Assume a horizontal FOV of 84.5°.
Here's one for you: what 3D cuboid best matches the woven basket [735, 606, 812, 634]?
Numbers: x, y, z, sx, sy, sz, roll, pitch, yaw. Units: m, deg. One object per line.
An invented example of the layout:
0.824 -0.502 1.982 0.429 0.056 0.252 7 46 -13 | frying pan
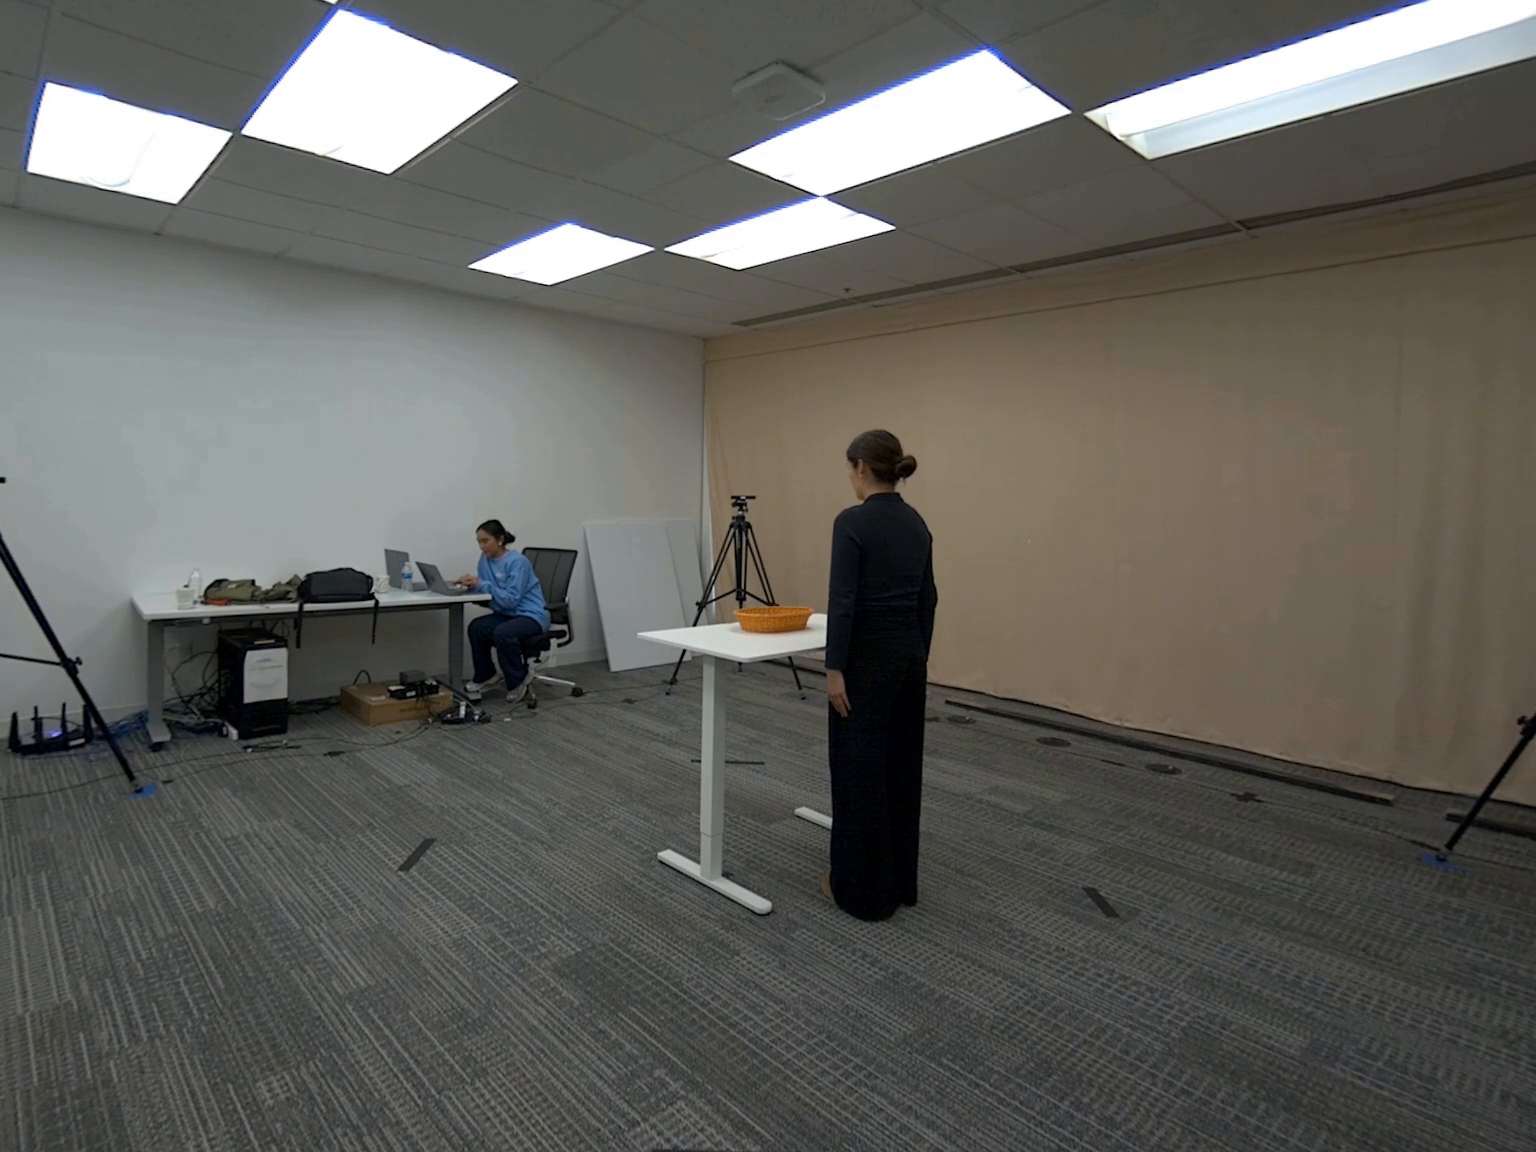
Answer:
0.020 0.176 3.310 0.342 0.073 0.259 -3 5 -40 | woven basket
